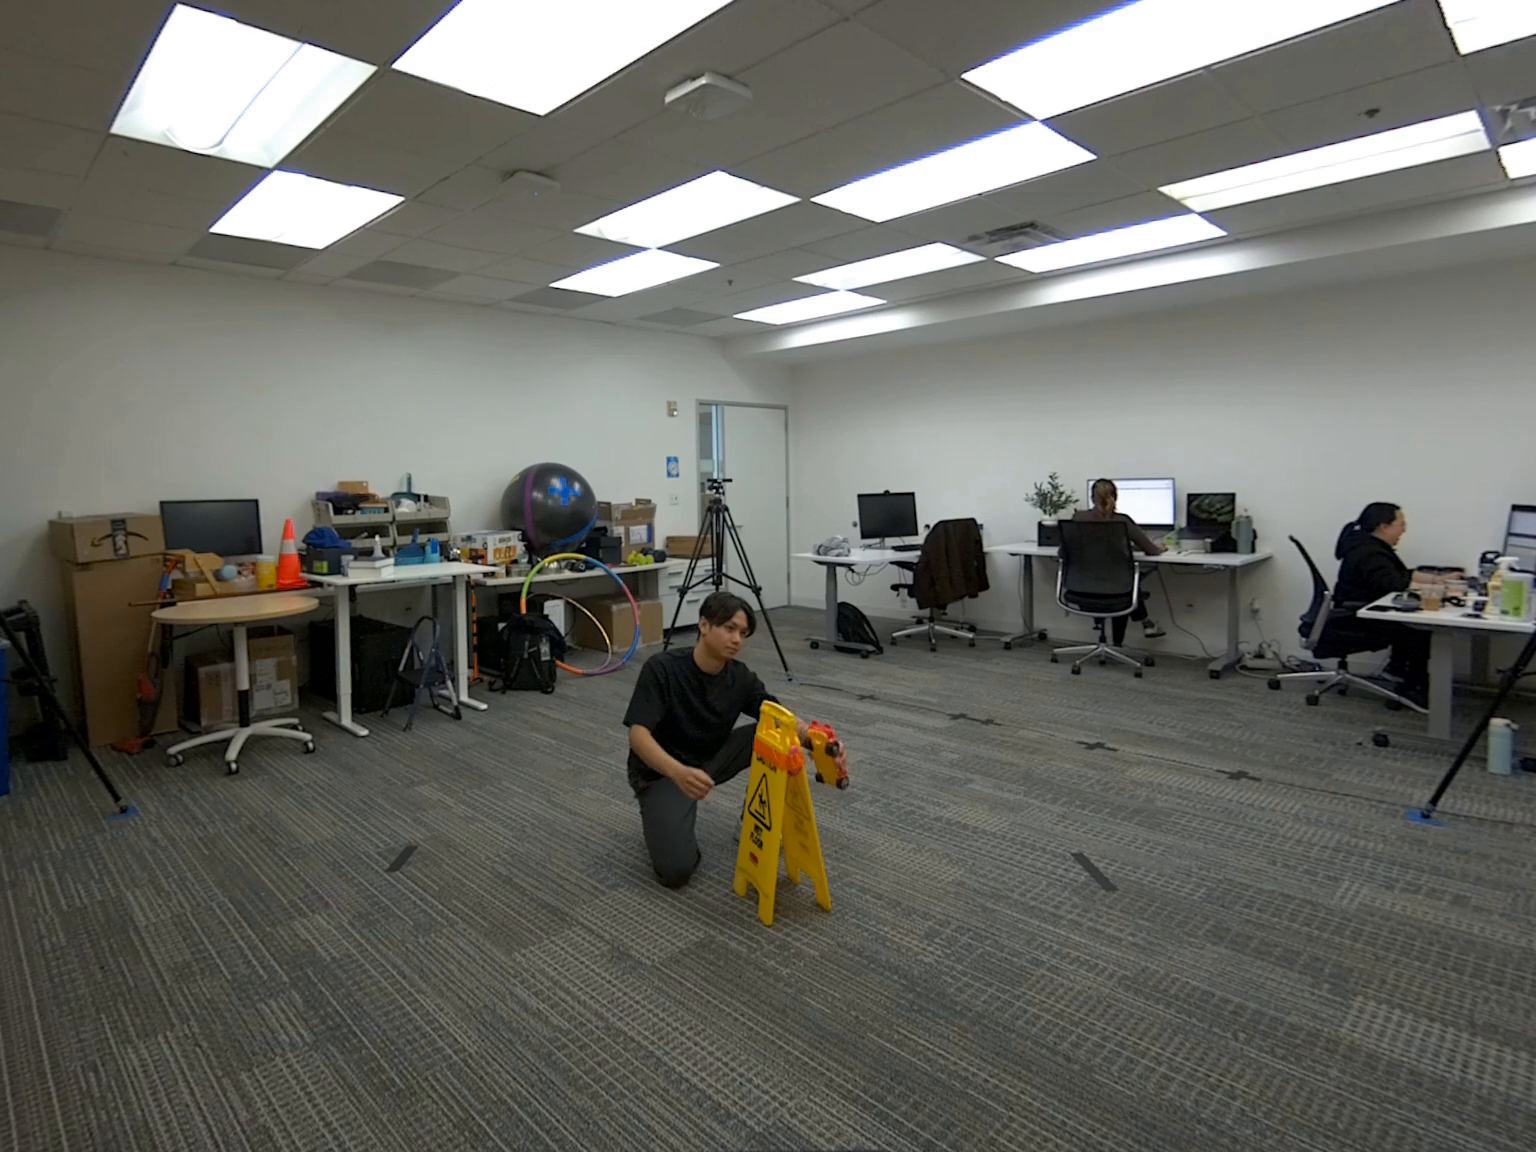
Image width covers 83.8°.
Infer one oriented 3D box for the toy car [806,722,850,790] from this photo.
[{"bbox_3d":[0.195,0.599,2.845,0.134,0.251,0.082,4,18,43],"label":"toy car"}]
